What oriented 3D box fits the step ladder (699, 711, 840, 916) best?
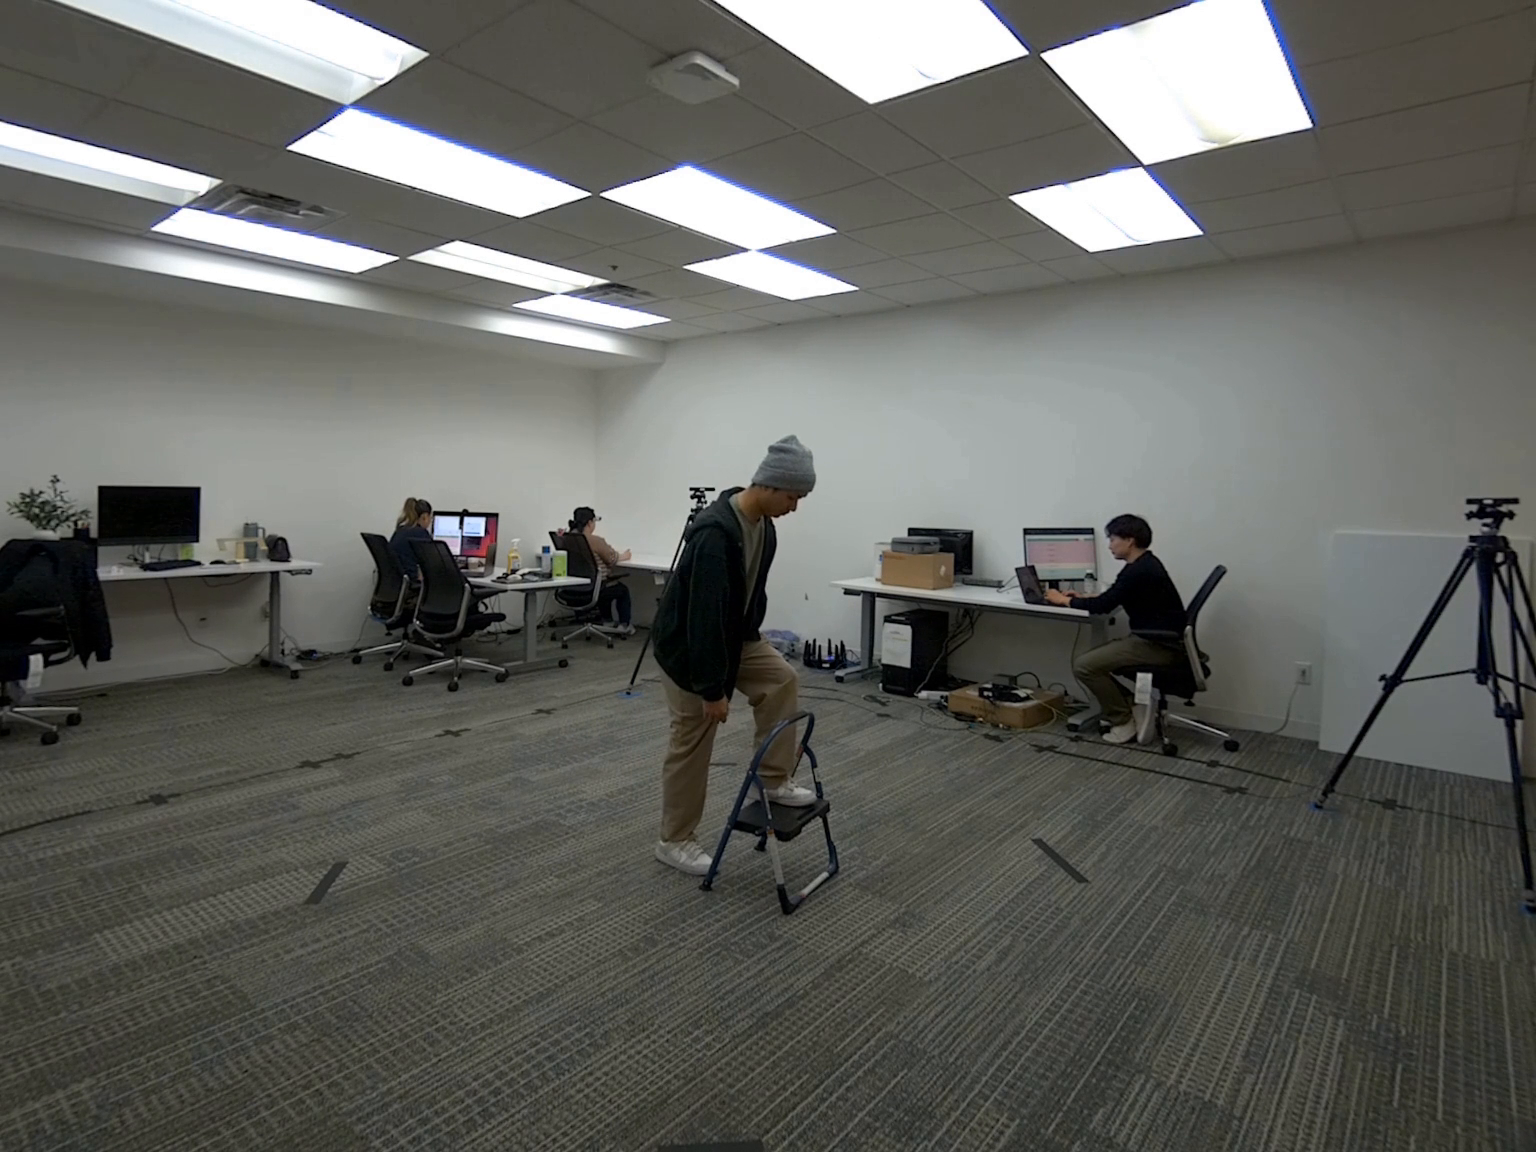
[{"bbox_3d":[0.015,0.778,3.017,0.359,0.604,0.419,3,4,29],"label":"step ladder"}]
